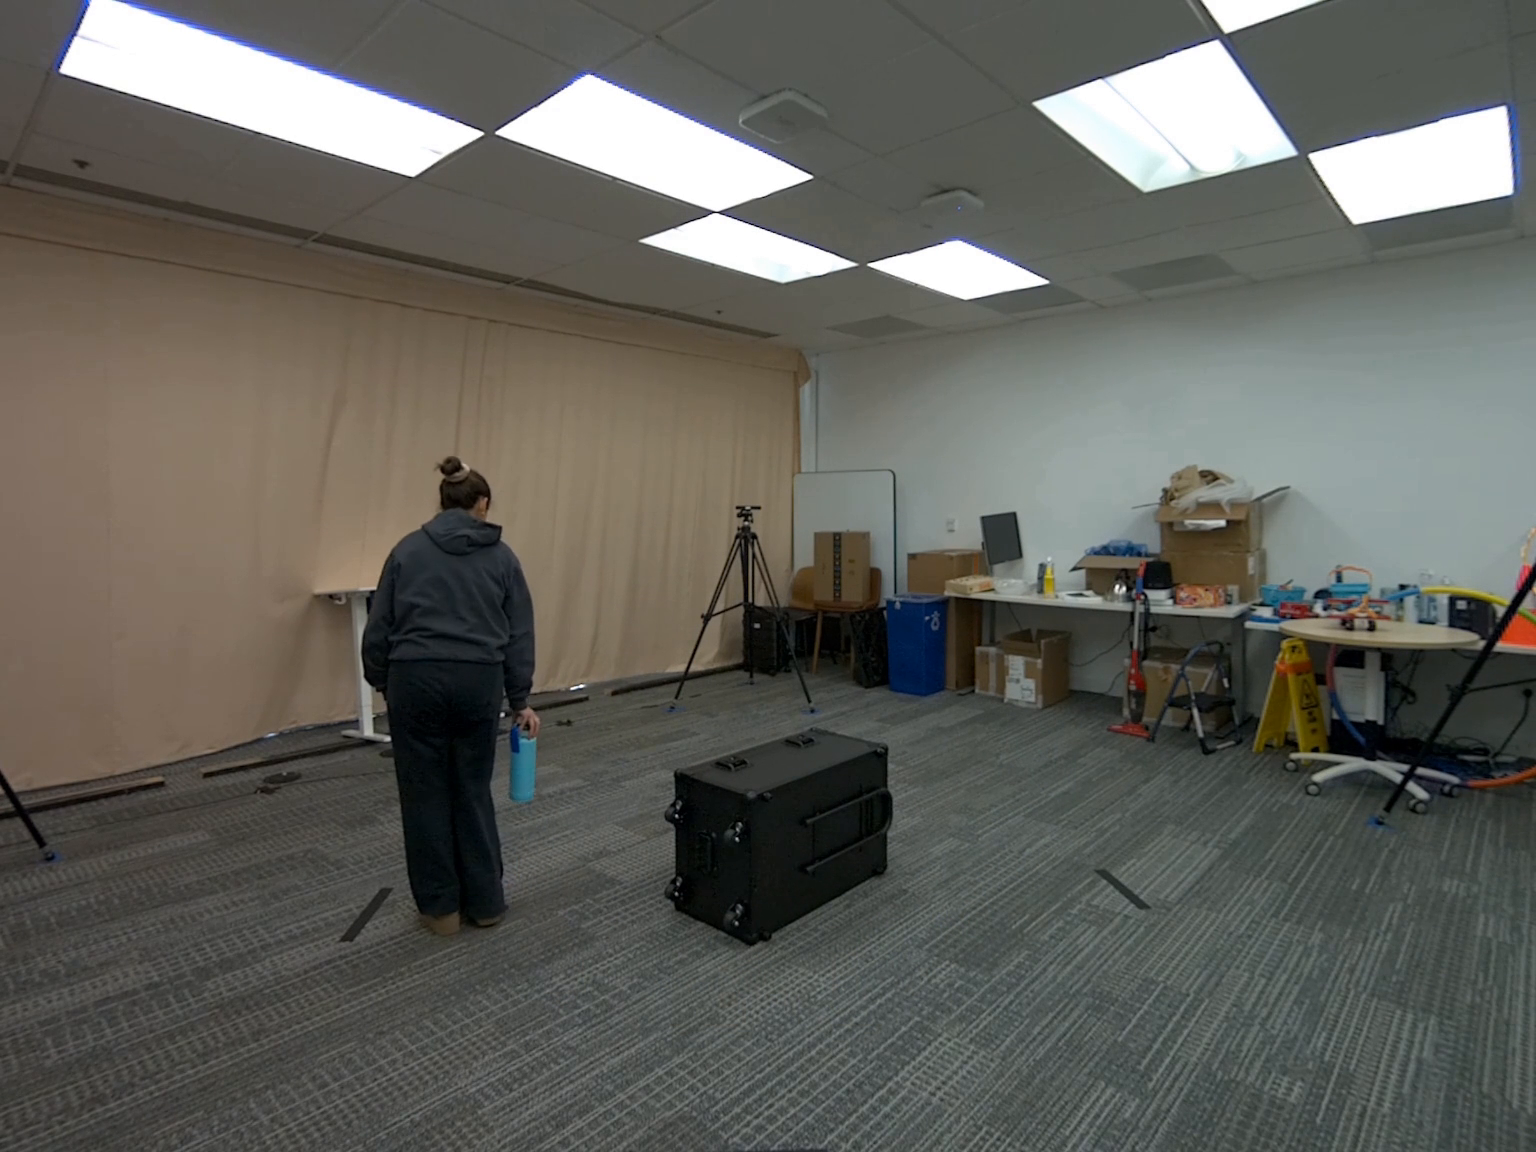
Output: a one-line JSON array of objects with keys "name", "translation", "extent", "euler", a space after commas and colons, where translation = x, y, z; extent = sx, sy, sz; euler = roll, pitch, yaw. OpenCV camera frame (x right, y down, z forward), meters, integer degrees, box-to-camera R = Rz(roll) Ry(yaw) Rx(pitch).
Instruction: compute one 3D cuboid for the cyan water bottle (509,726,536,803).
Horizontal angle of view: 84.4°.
[{"name": "cyan water bottle", "translation": [-0.863, 0.671, 2.990], "extent": [0.092, 0.283, 0.092], "euler": [4, 3, -2]}]
